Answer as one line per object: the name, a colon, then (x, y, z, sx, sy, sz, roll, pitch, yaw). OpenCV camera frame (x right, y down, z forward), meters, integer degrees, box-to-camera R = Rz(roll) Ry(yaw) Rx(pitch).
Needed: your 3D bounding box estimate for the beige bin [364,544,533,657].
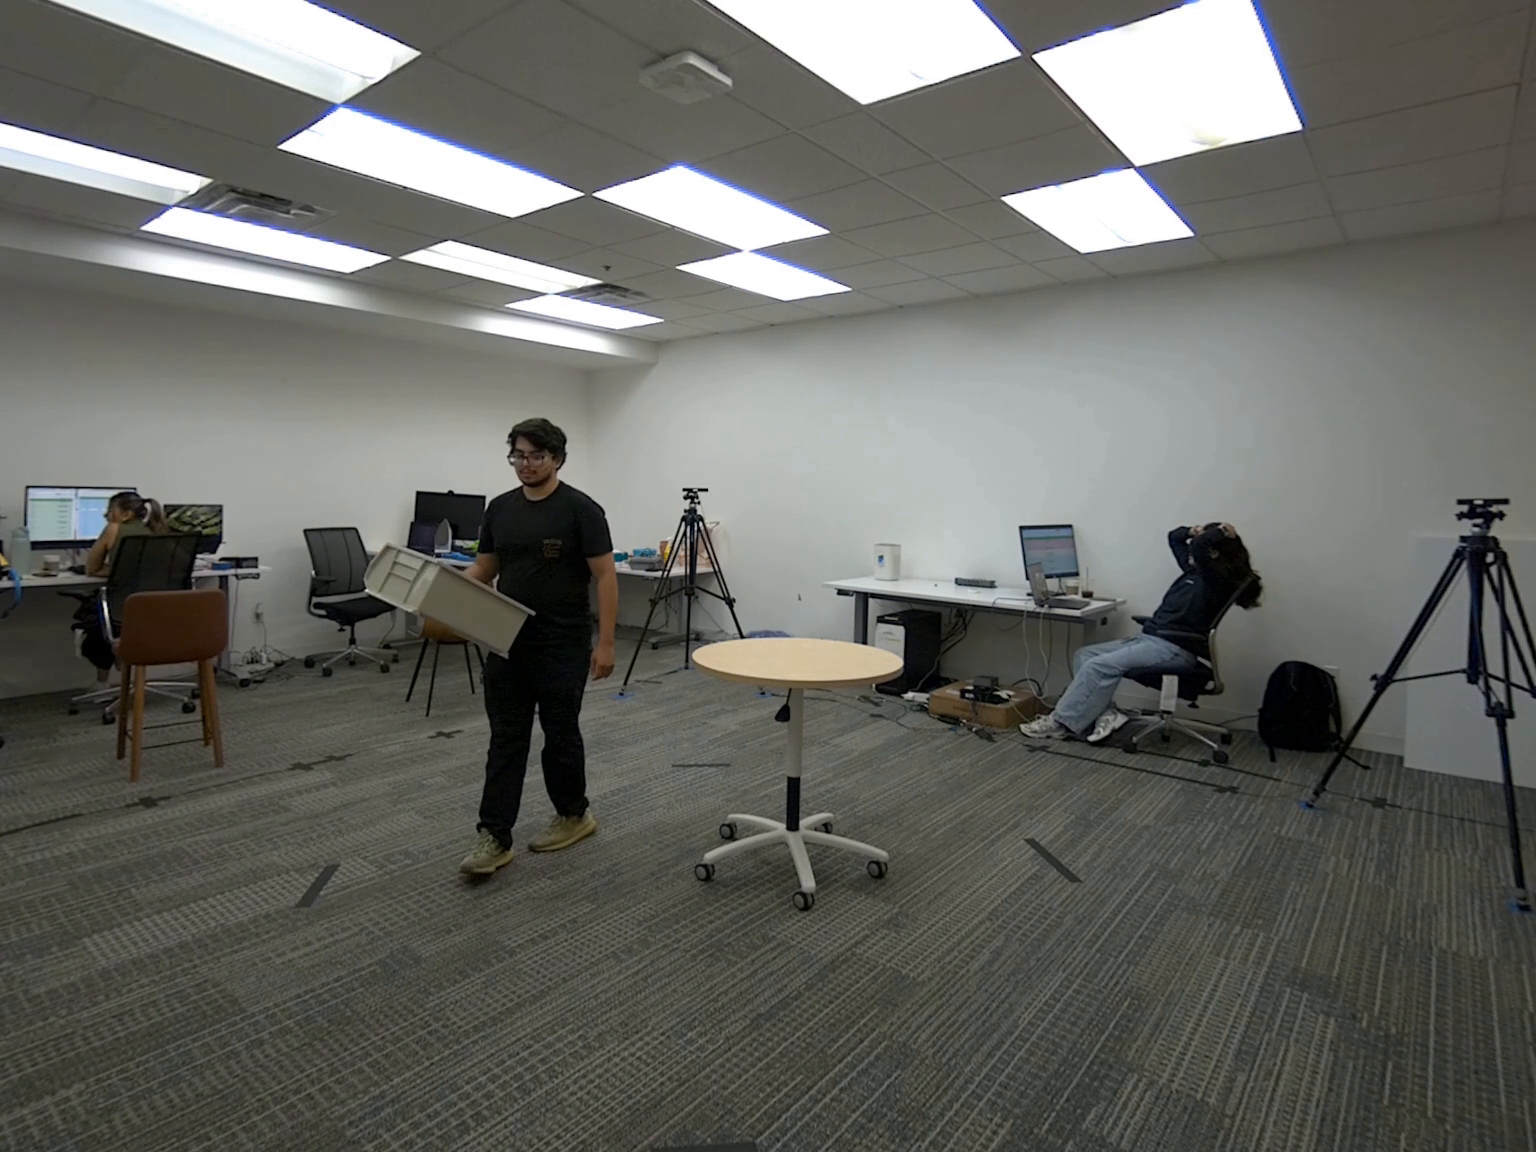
beige bin: (-1.097, 0.075, 2.860, 0.392, 0.190, 0.404, 16, -16, 40)
